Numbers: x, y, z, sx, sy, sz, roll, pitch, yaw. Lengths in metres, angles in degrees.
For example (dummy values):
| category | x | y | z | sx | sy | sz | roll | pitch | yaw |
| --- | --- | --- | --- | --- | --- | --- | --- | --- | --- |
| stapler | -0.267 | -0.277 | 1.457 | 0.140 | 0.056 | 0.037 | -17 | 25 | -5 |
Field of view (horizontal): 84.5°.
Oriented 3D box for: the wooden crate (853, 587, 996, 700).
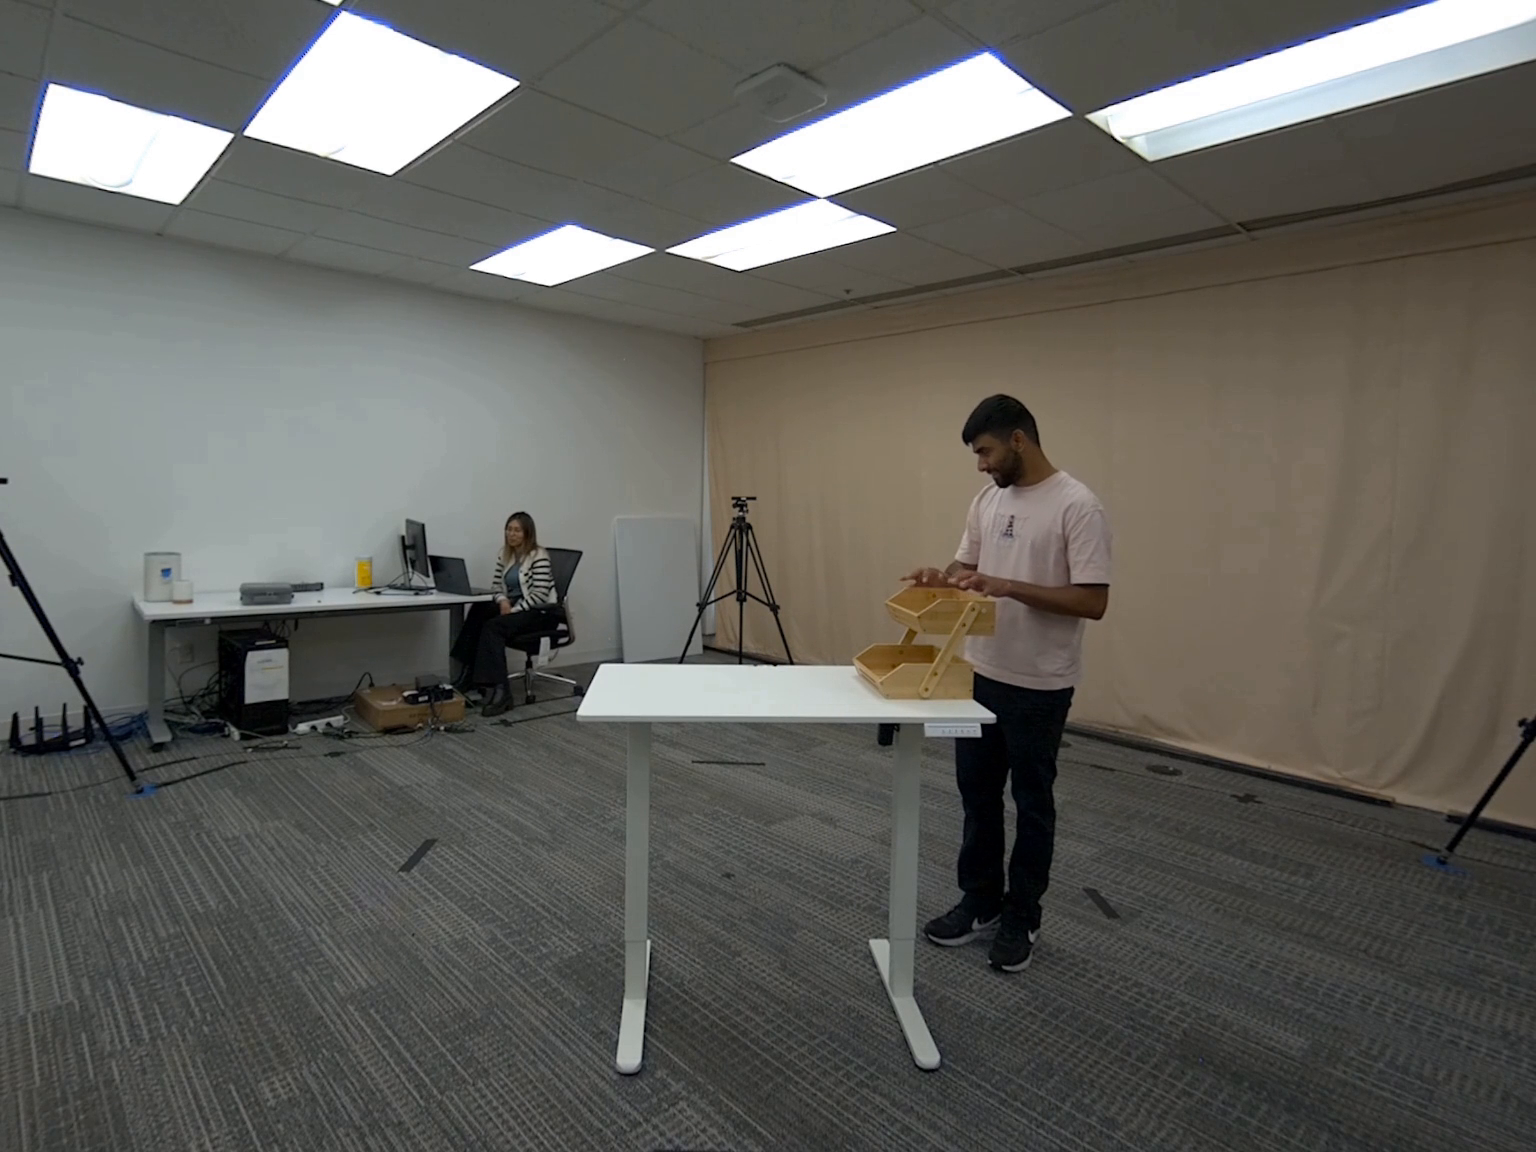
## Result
| category | x | y | z | sx | sy | sz | roll | pitch | yaw |
| --- | --- | --- | --- | --- | --- | --- | --- | --- | --- |
| wooden crate | 0.412 | 0.176 | 2.316 | 0.300 | 0.272 | 0.328 | 4 | 5 | -9 |
